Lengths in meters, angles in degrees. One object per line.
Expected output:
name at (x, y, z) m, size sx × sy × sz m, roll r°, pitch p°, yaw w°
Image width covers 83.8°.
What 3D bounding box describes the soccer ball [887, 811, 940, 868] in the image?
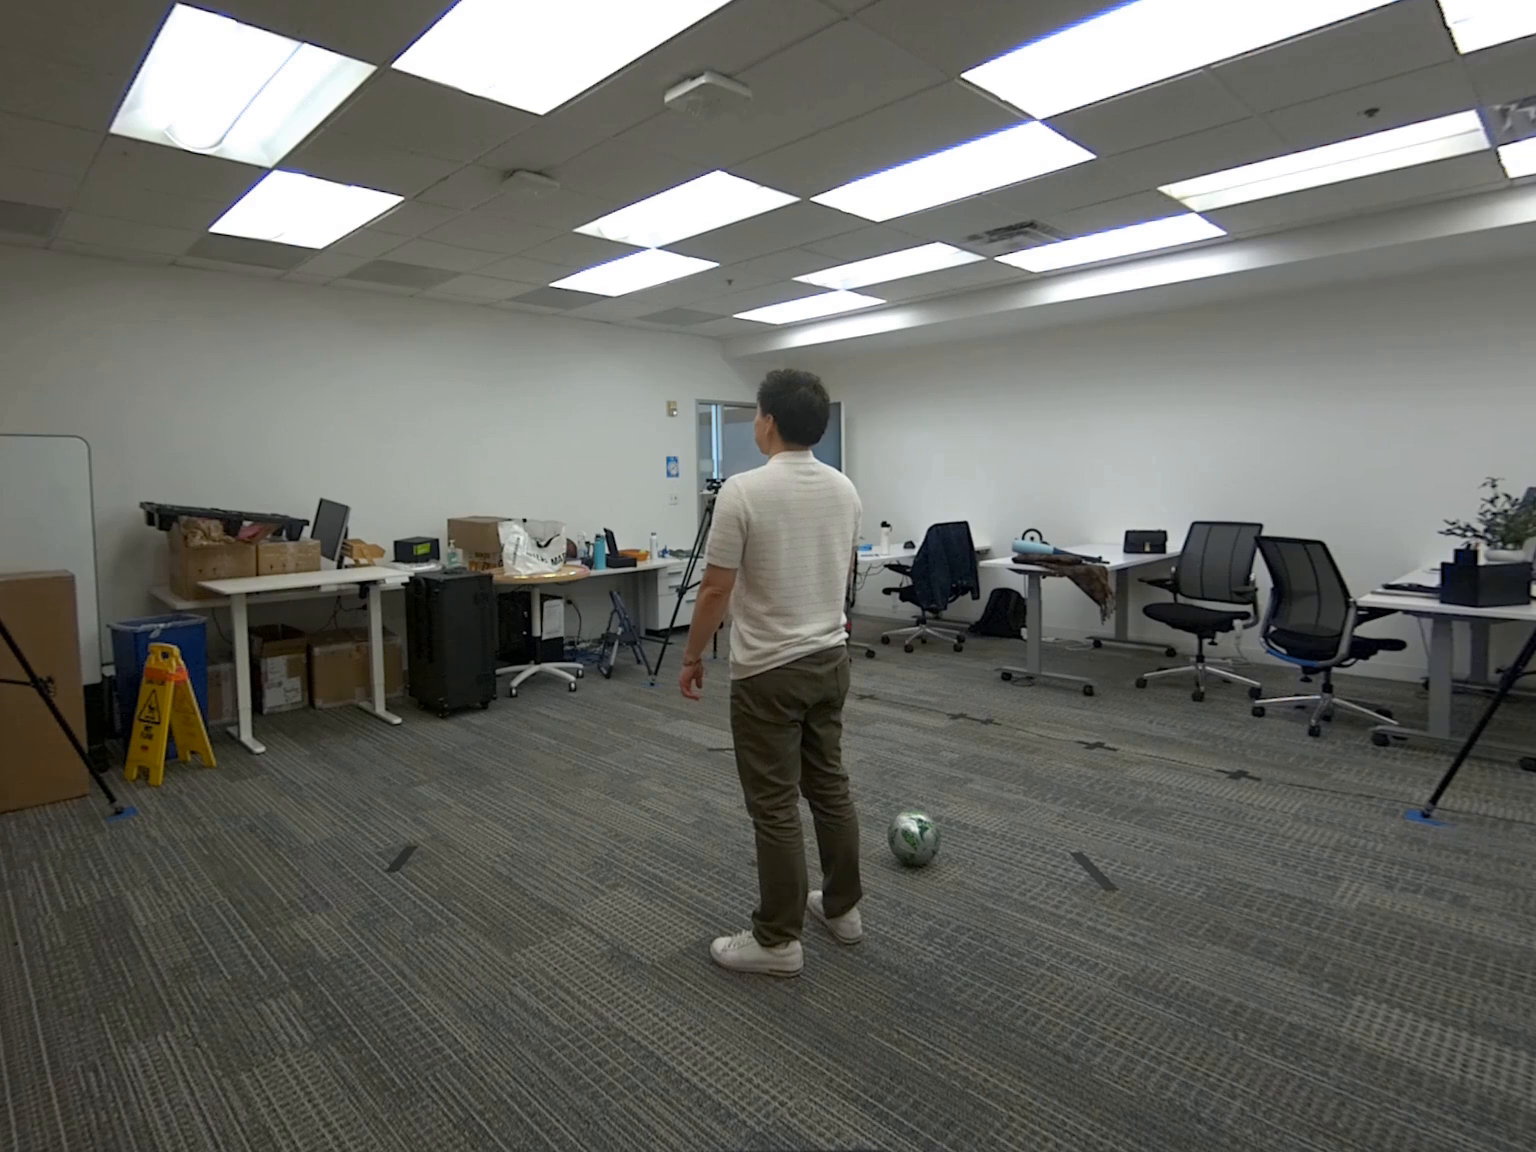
soccer ball at (0.526, 0.942, 3.083) m, size 0.187 × 0.187 × 0.188 m, roll -1°, pitch 5°, yaw -2°
